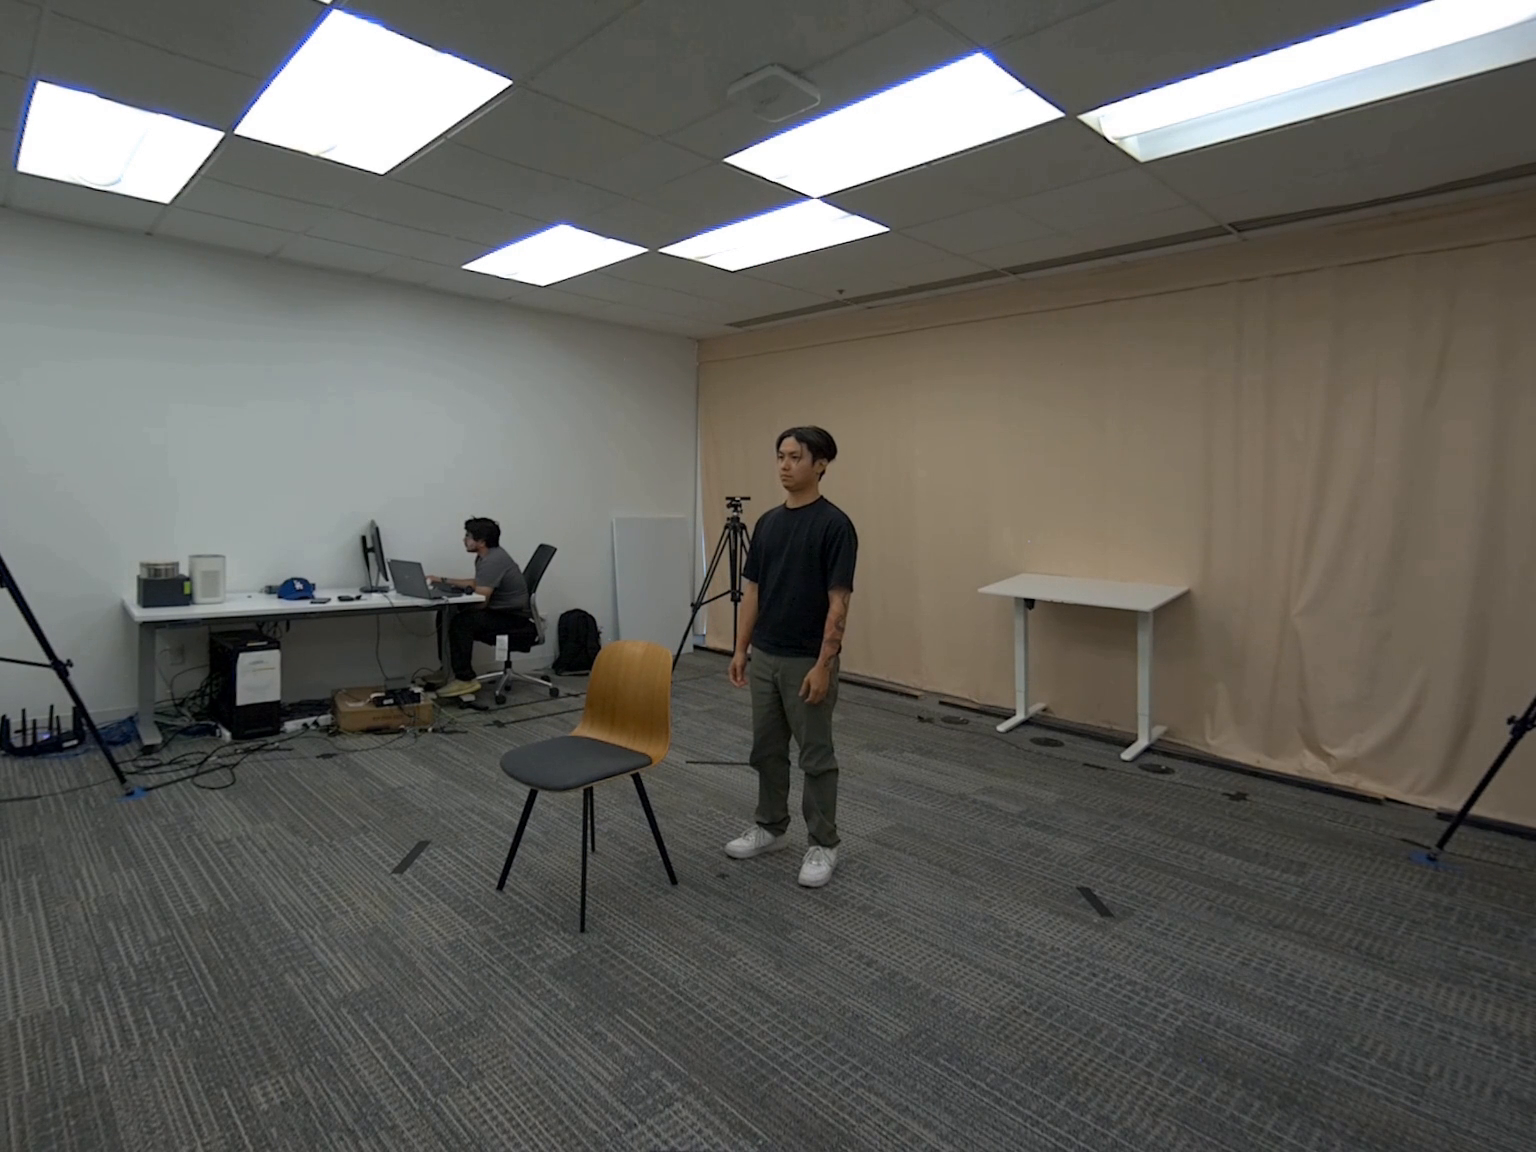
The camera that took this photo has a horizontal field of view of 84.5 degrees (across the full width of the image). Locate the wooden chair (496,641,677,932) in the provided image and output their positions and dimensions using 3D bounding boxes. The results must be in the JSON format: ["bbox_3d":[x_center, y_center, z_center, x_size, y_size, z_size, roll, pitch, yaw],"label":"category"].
[{"bbox_3d":[-0.633,0.684,2.946,0.490,0.877,0.510,4,0,37],"label":"wooden chair"}]
